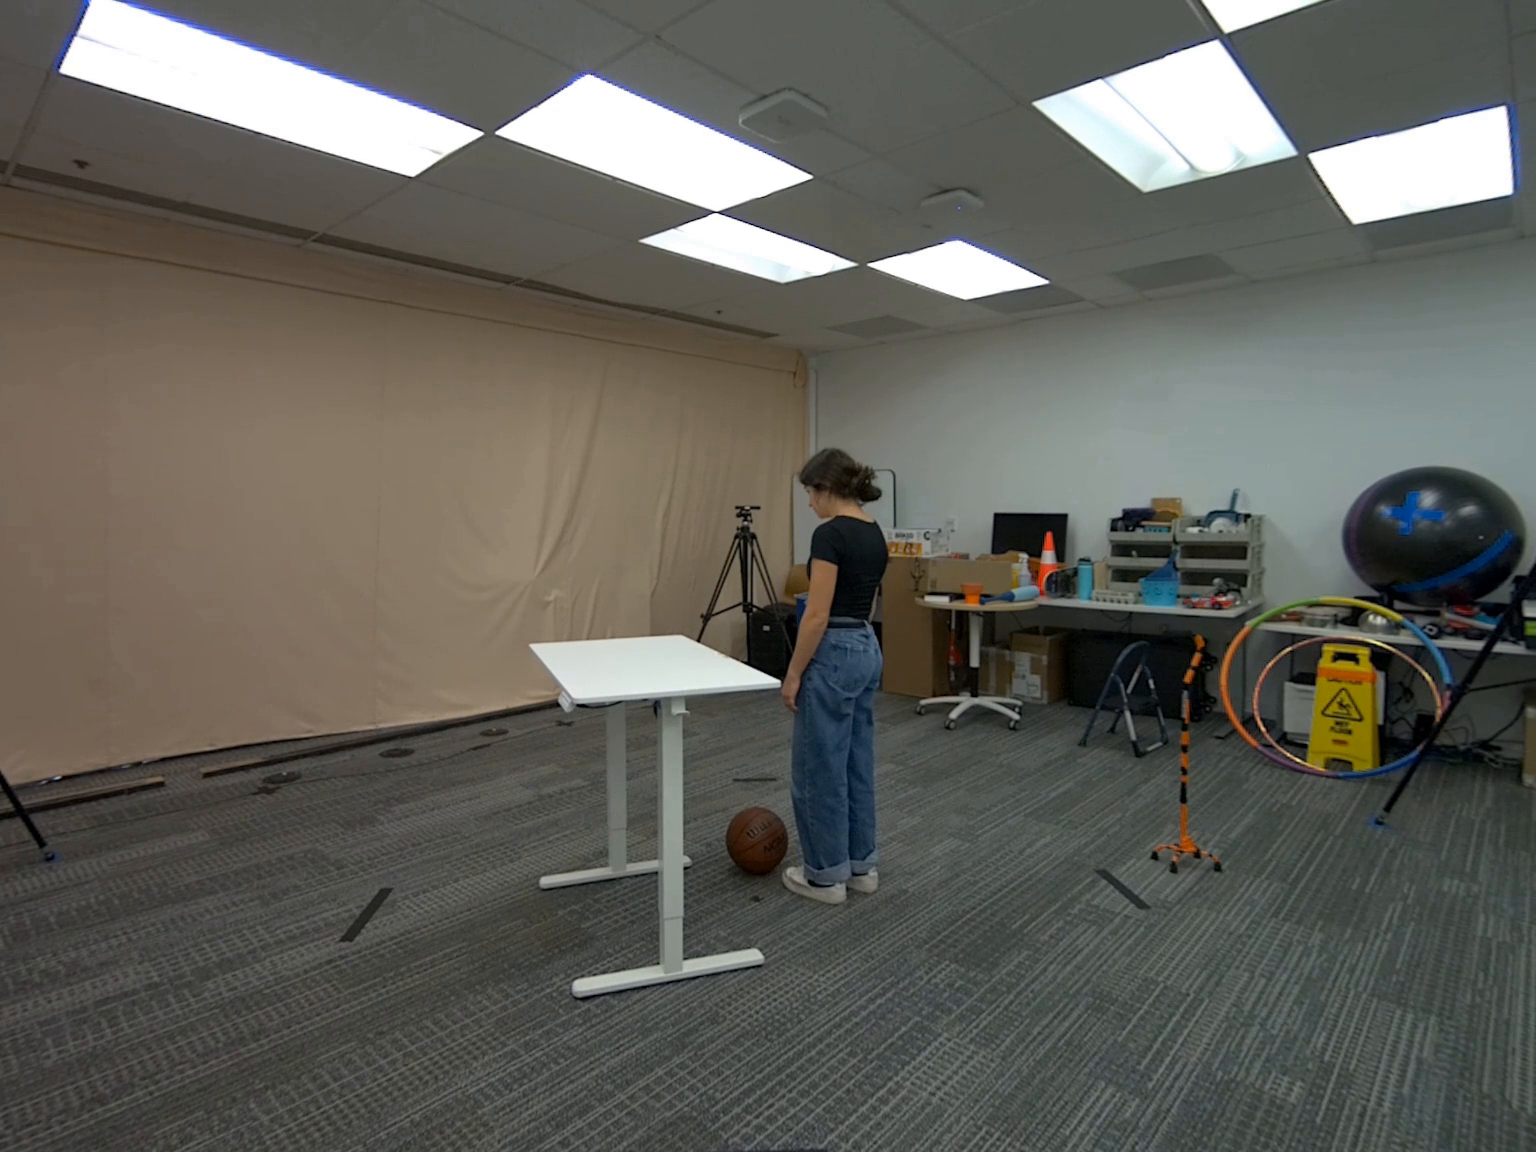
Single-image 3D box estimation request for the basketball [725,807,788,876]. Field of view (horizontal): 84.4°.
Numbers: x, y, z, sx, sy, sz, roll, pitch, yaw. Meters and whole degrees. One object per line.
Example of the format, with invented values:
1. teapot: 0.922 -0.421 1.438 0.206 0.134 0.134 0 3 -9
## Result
1. basketball: -0.032 1.002 3.210 0.236 0.235 0.237 0 4 -2
